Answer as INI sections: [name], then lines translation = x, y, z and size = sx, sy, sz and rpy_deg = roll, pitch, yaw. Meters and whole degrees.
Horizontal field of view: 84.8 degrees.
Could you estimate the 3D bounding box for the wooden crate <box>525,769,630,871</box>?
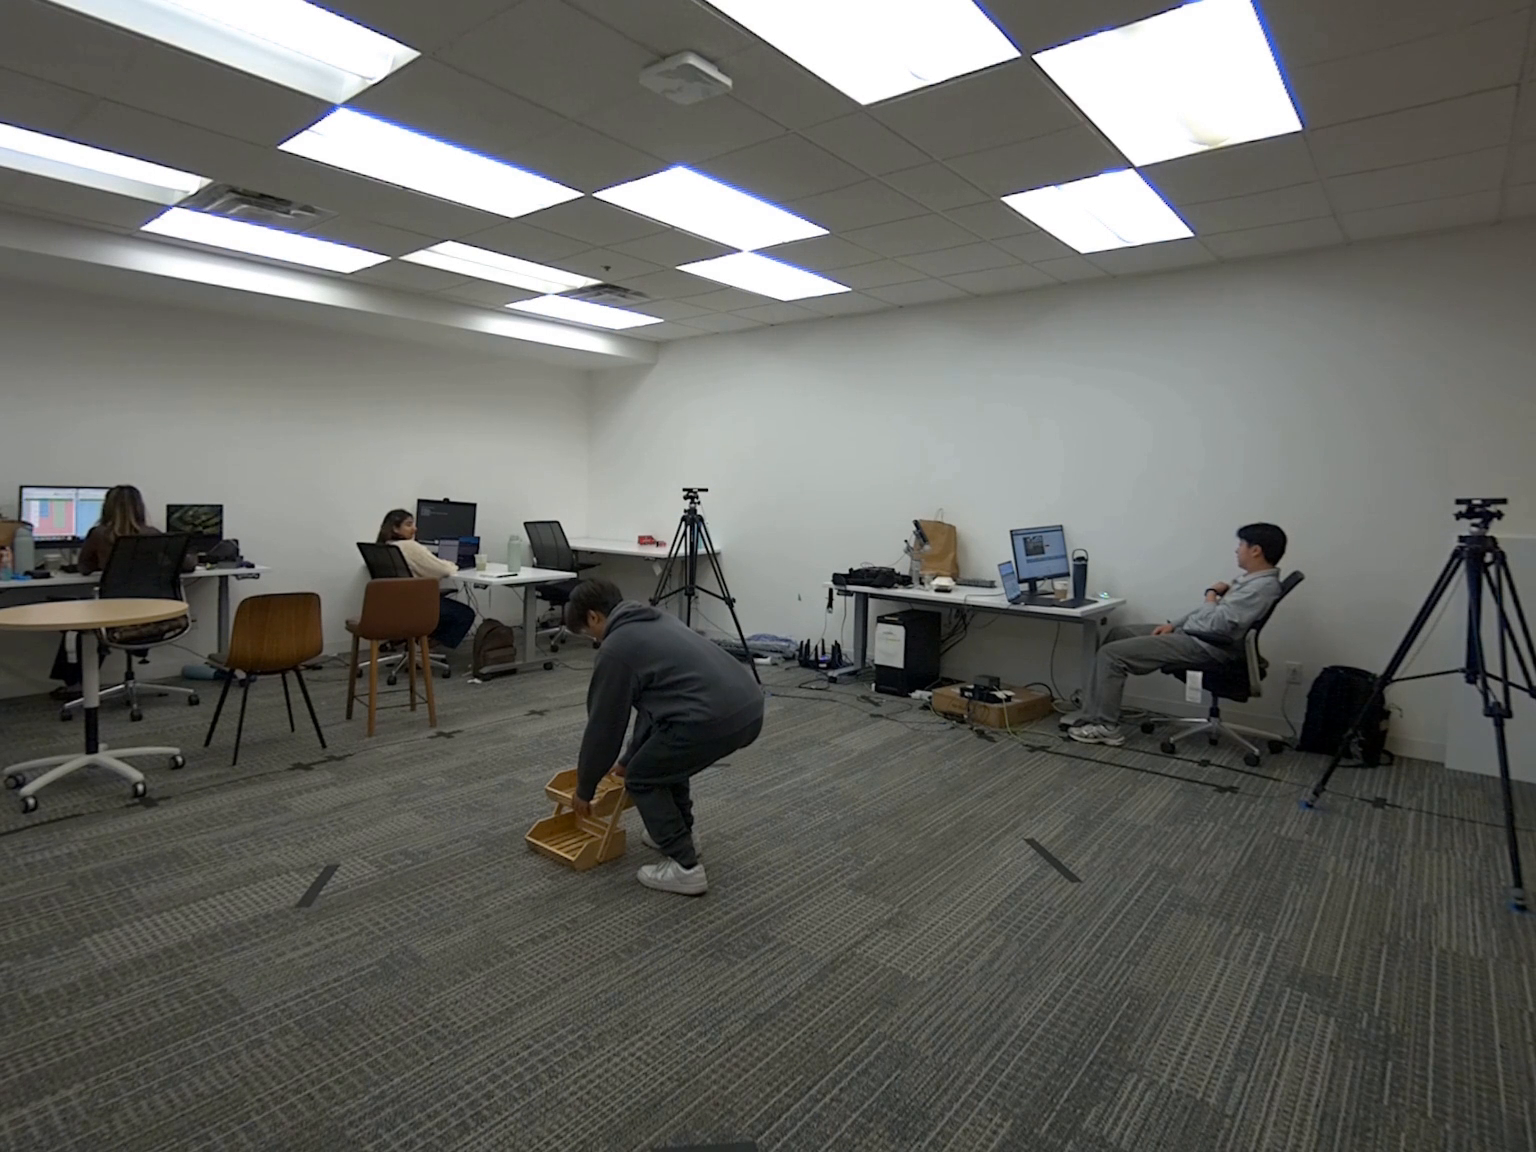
[wooden crate]
translation = -0.729, 0.912, 3.260
size = 0.335, 0.273, 0.293
rpy_deg = 5, 4, 39
